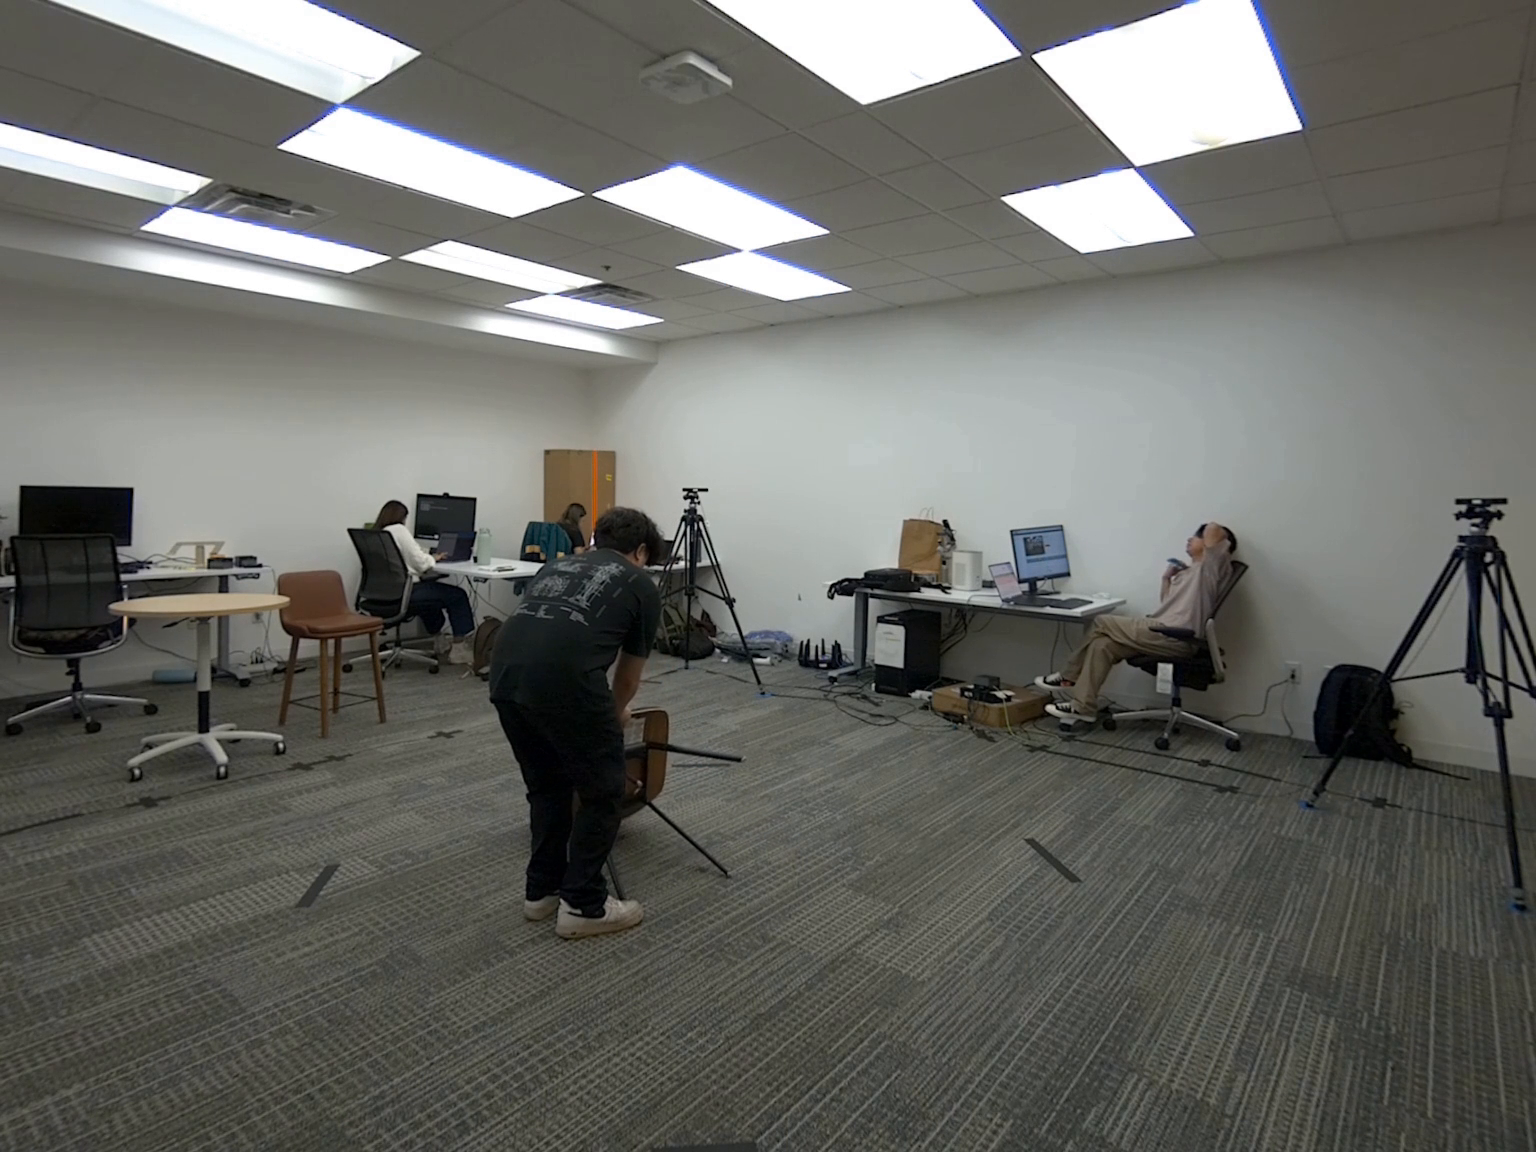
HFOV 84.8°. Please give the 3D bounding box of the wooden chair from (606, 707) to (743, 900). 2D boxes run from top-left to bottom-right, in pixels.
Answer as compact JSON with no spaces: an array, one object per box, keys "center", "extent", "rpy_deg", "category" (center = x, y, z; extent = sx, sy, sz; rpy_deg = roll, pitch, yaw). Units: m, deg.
[{"center":[-0.561,0.764,3.207],"extent":[0.464,0.520,0.909],"rpy_deg":[-3,10,-40],"category":"wooden chair"}]
